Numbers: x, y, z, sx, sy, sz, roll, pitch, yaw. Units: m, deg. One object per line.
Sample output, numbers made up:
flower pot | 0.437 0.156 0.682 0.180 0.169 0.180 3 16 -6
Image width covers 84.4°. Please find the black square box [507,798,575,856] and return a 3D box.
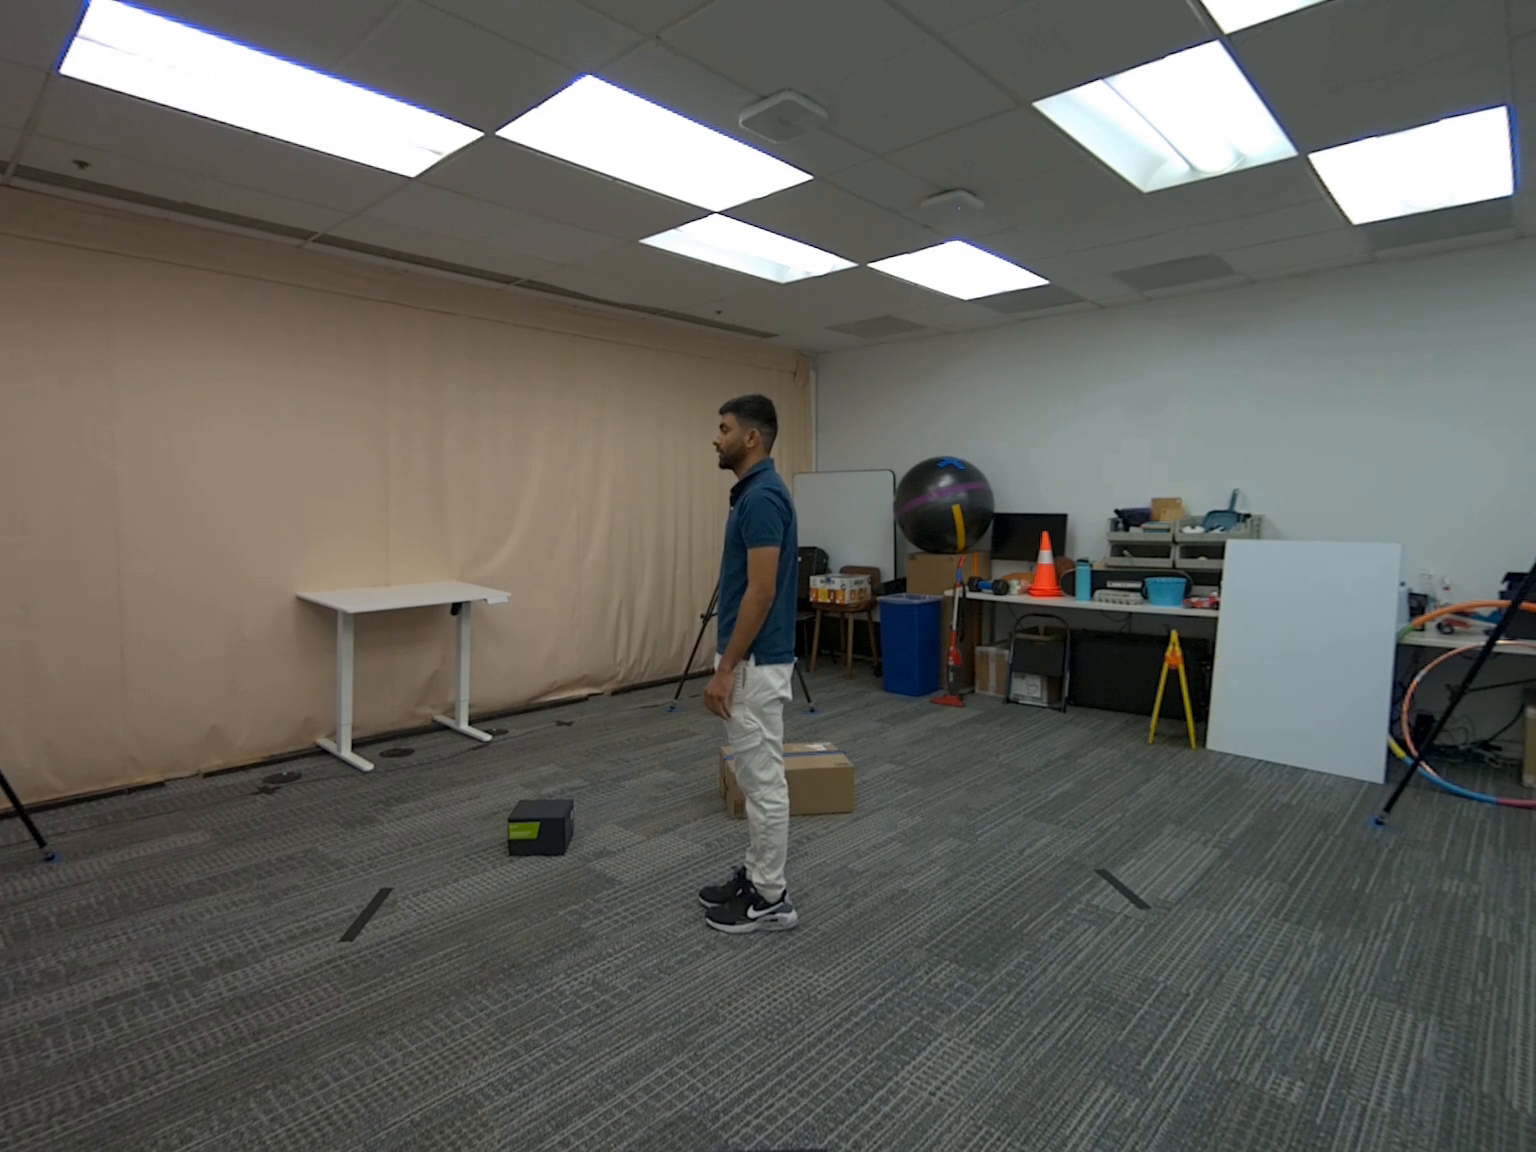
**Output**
black square box | -0.933 1.025 3.468 0.228 0.155 0.218 0 5 -2
